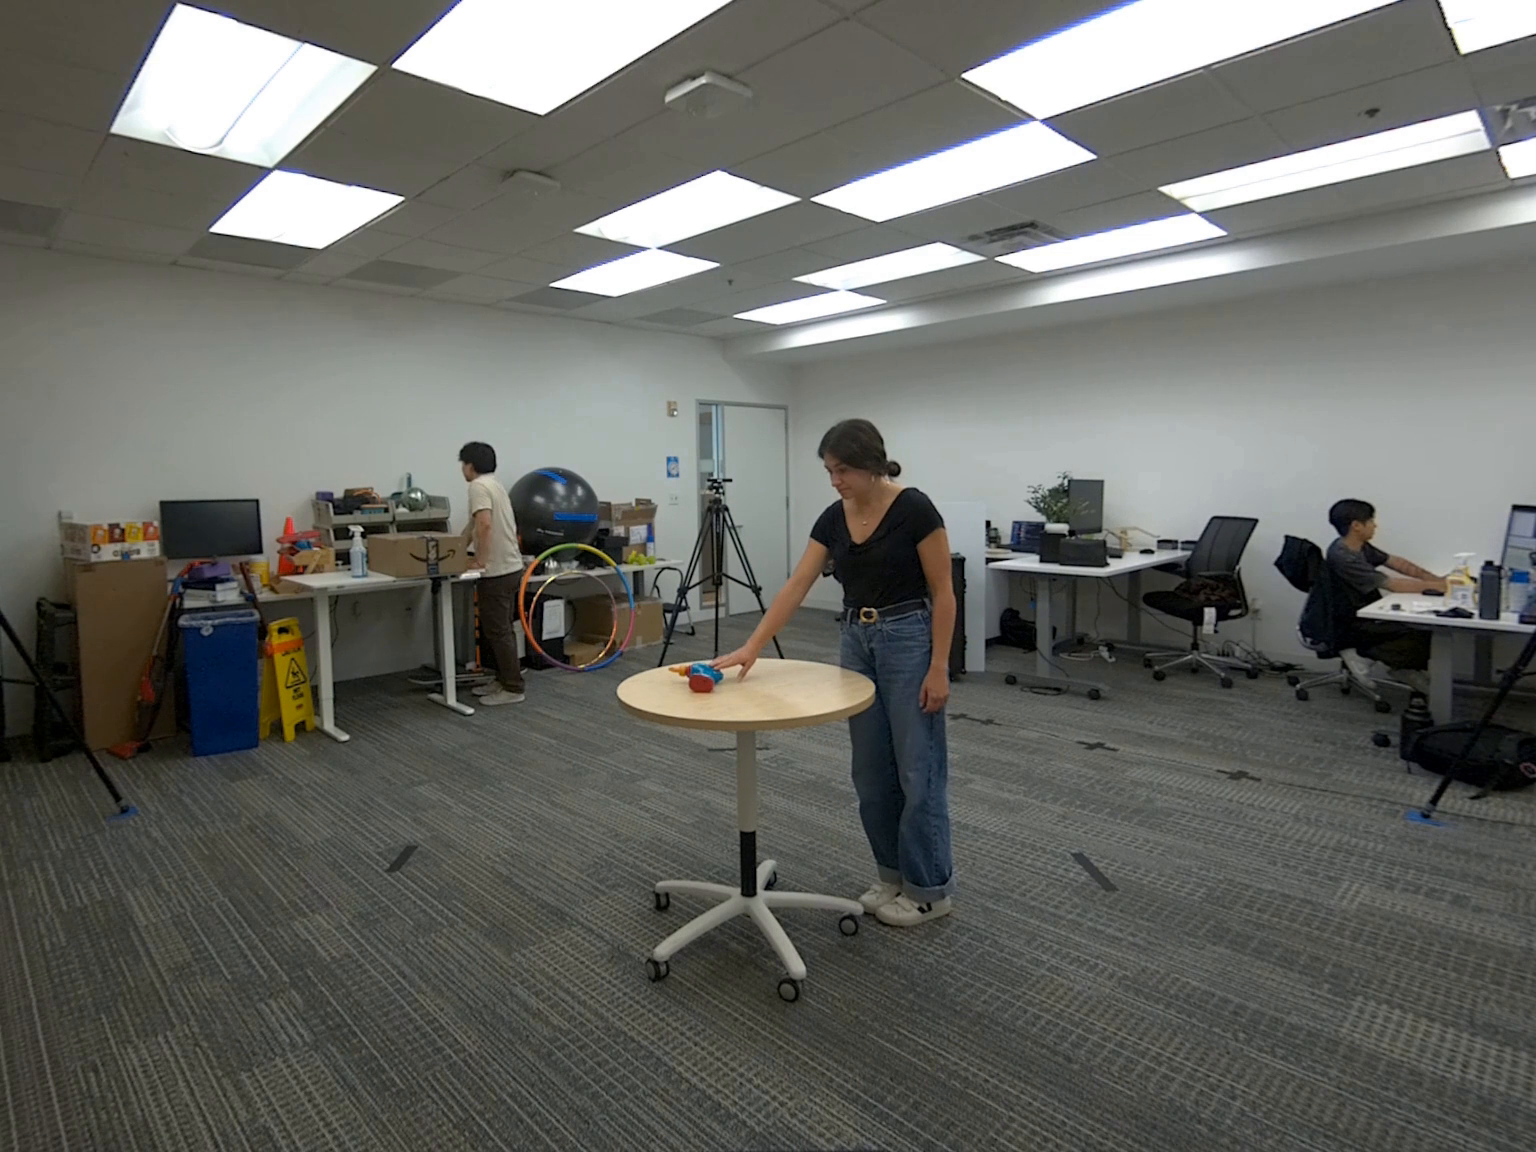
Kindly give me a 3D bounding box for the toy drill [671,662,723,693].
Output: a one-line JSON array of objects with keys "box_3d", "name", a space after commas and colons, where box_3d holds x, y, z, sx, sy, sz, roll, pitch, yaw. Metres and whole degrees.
[{"box_3d": [-0.213, 0.297, 2.549, 0.171, 0.061, 0.145, 8, 7, 7], "name": "toy drill"}]
